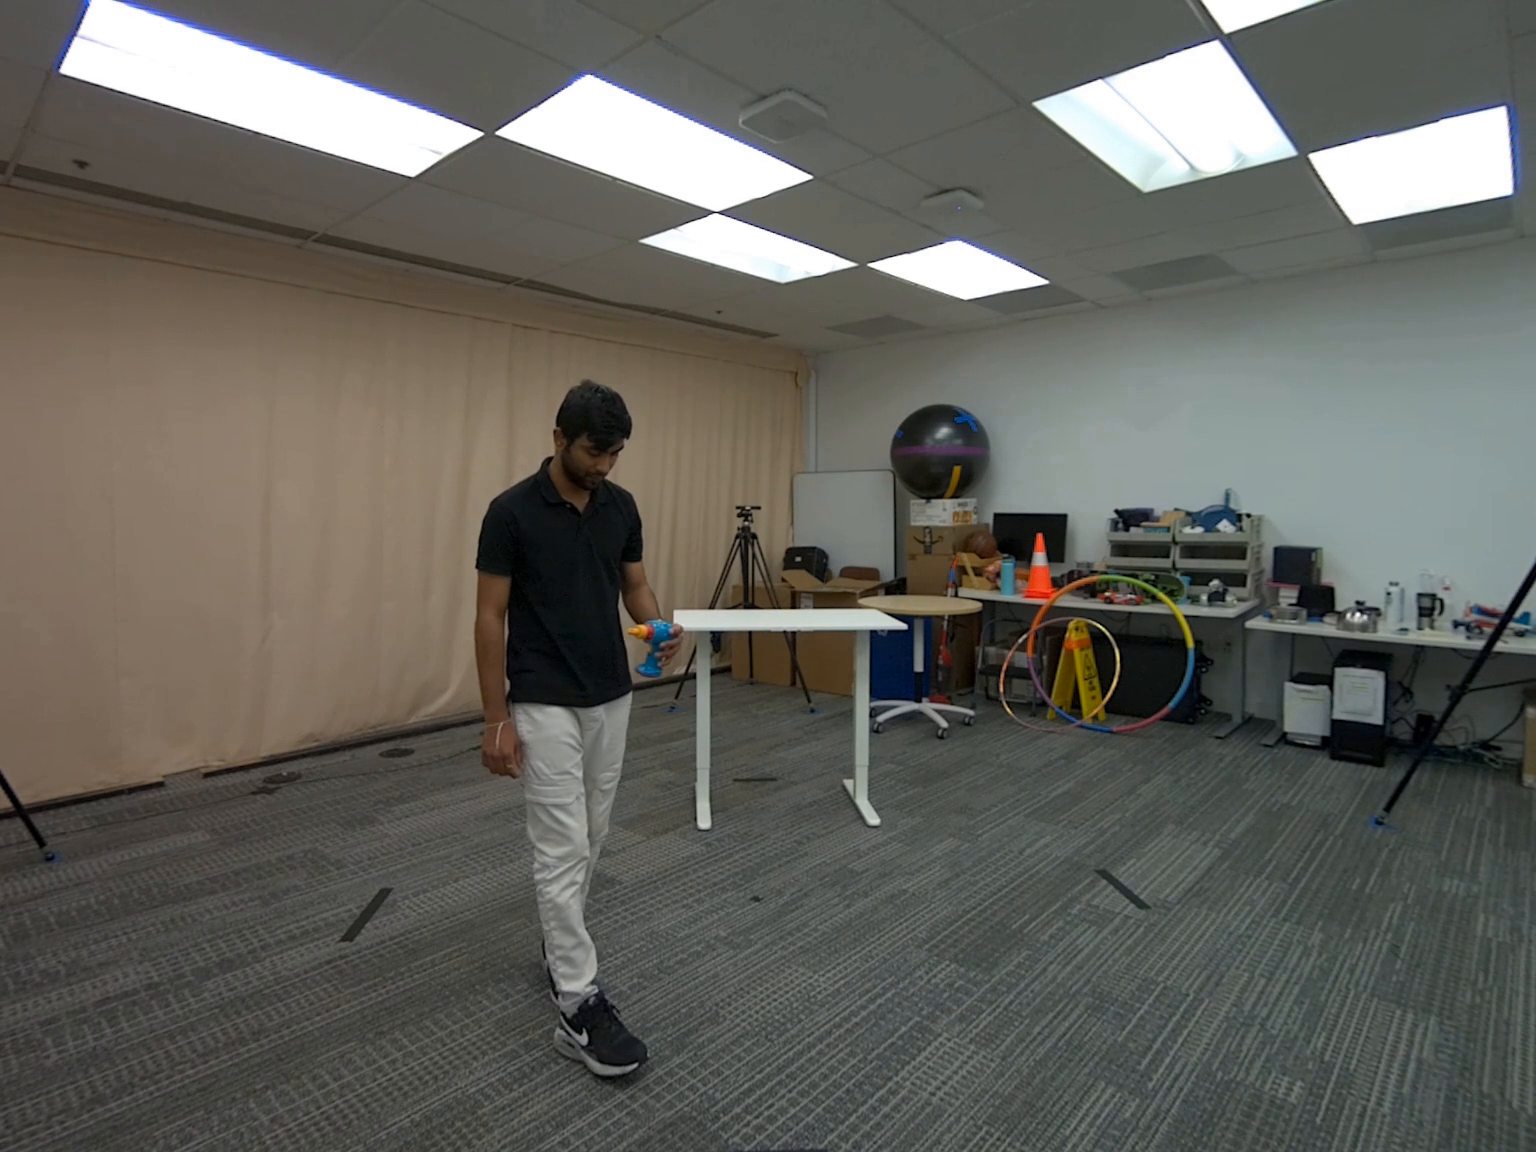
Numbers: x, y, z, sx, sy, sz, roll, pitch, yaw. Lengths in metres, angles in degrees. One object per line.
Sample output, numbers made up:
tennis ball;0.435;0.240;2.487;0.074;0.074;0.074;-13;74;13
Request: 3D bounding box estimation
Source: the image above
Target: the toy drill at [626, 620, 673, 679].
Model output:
toy drill;-0.307;0.178;2.105;0.063;0.146;0.164;23;10;33
